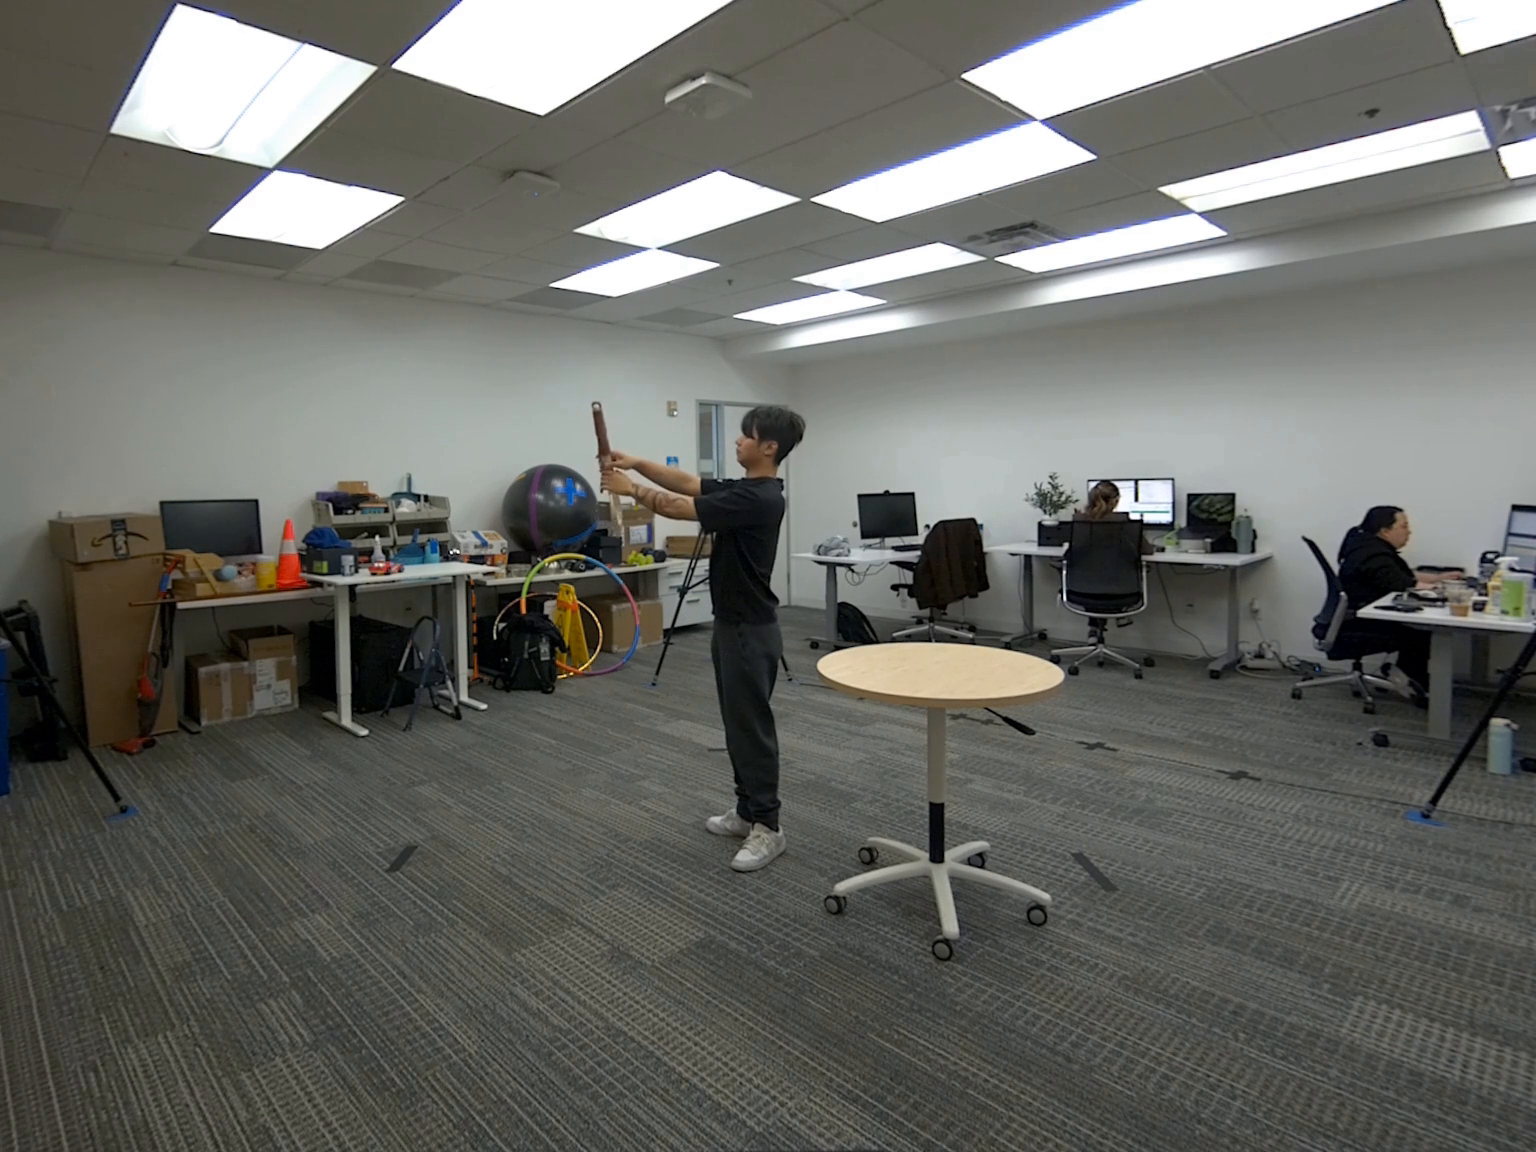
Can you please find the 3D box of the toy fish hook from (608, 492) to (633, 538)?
[{"bbox_3d":[-0.589,-0.386,3.132,0.048,0.494,0.231,-10,27,-8],"label":"toy fish hook"}]
